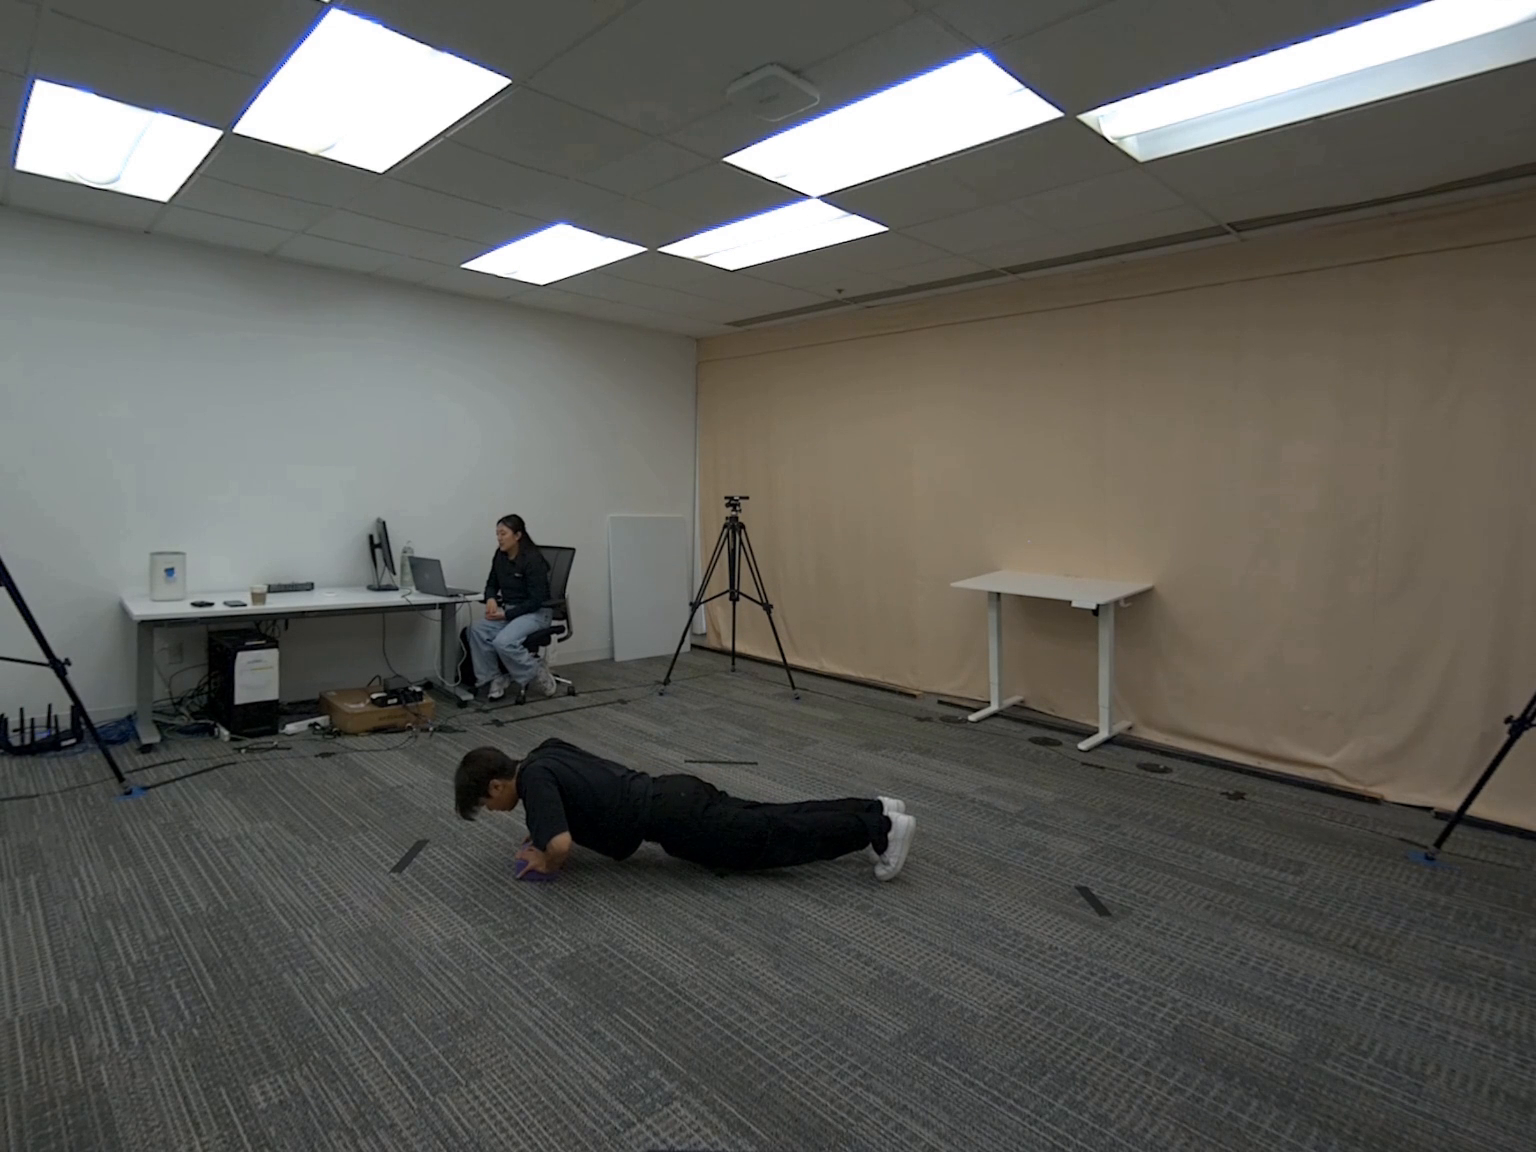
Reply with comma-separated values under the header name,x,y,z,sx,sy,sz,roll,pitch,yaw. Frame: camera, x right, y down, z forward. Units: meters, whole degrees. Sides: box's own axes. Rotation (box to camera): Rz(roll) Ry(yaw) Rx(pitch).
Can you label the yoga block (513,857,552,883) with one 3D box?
name,x,y,z,sx,sy,sz,roll,pitch,yaw
yoga block,-0.844,1.039,3.135,0.148,0.076,0.231,-10,7,-4
